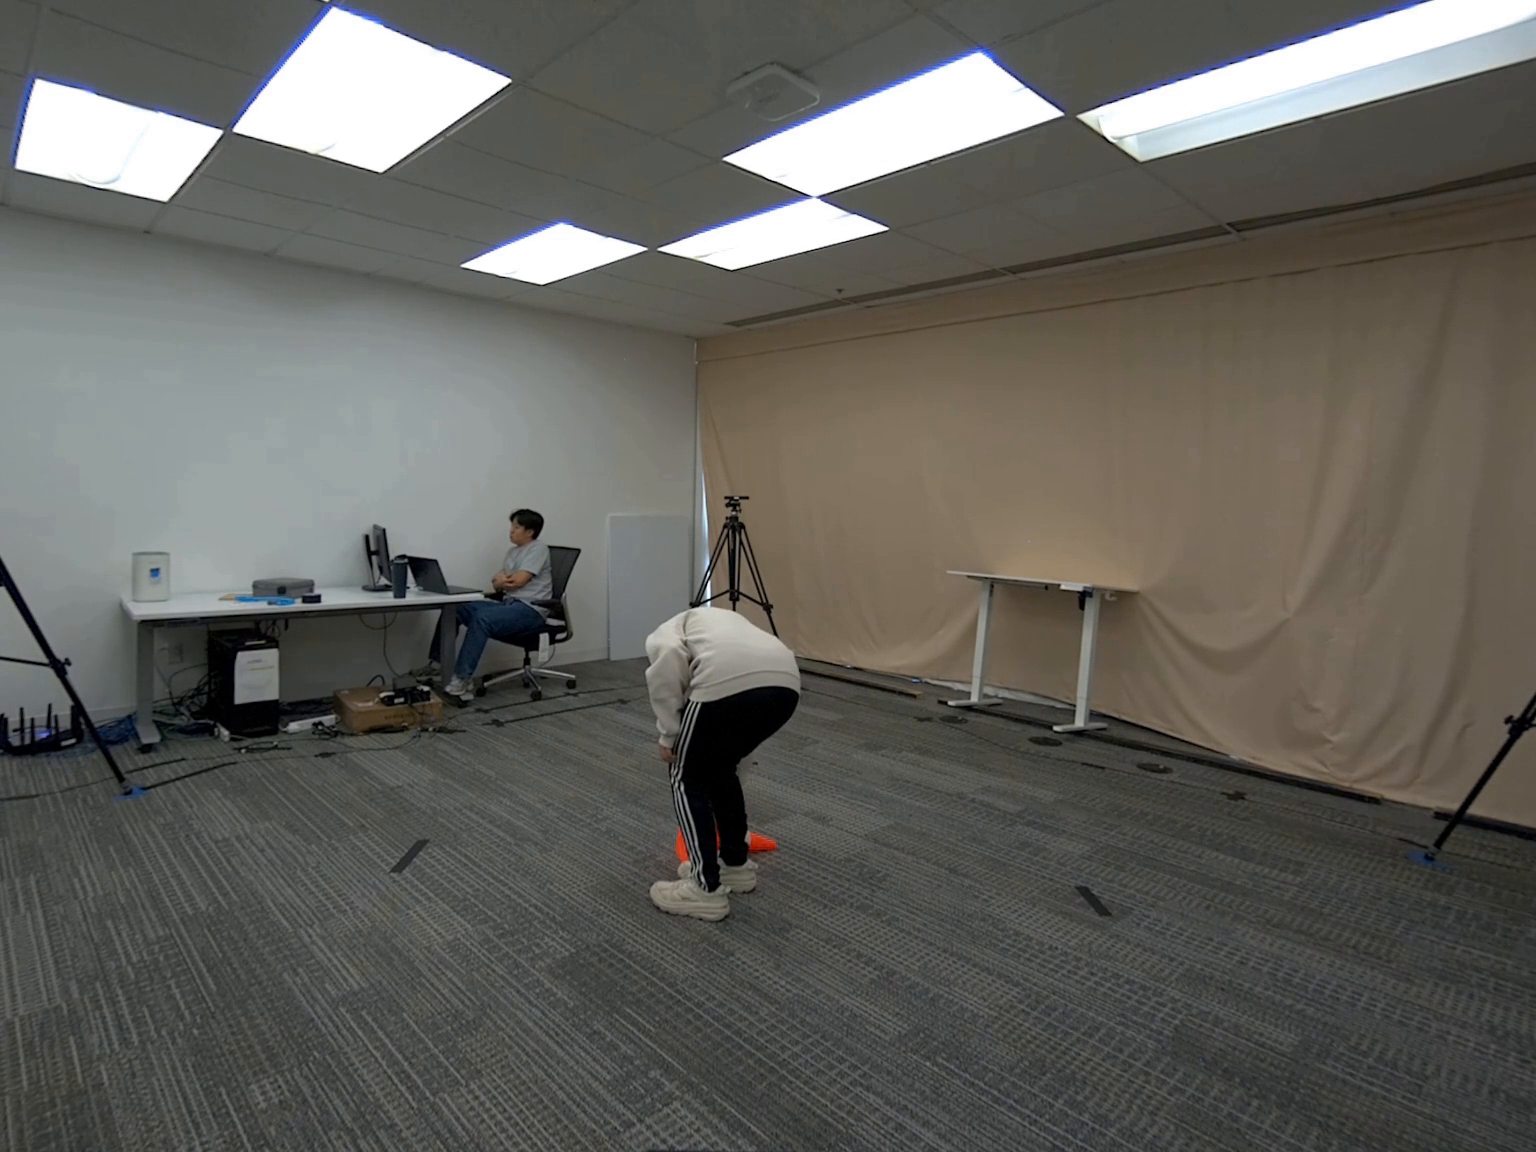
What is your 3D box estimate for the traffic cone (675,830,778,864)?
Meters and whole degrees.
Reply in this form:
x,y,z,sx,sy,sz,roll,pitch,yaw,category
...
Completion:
x,y,z,sx,sy,sz,roll,pitch,yaw,category
-0.149,1.038,3.287,0.377,0.205,0.206,13,-2,-18,traffic cone
